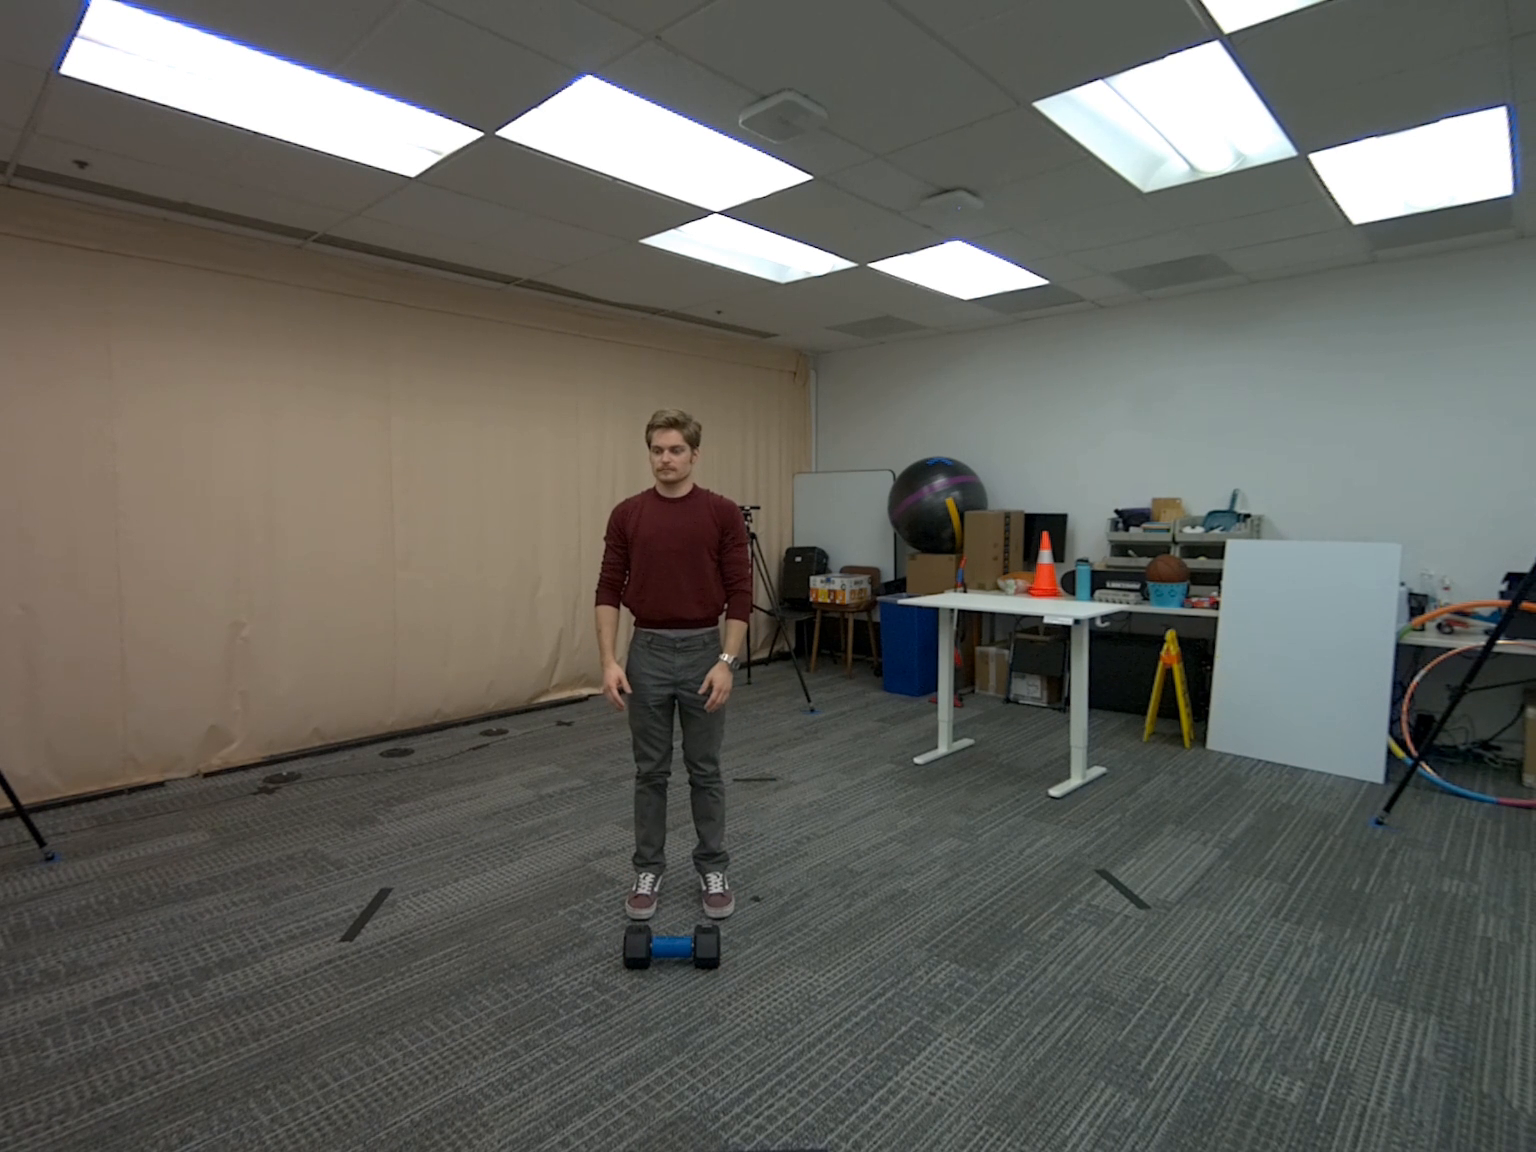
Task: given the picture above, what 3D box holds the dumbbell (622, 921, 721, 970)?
[{"bbox_3d":[-0.287,1.133,2.554,0.294,0.108,0.123,0,5,1],"label":"dumbbell"}]
